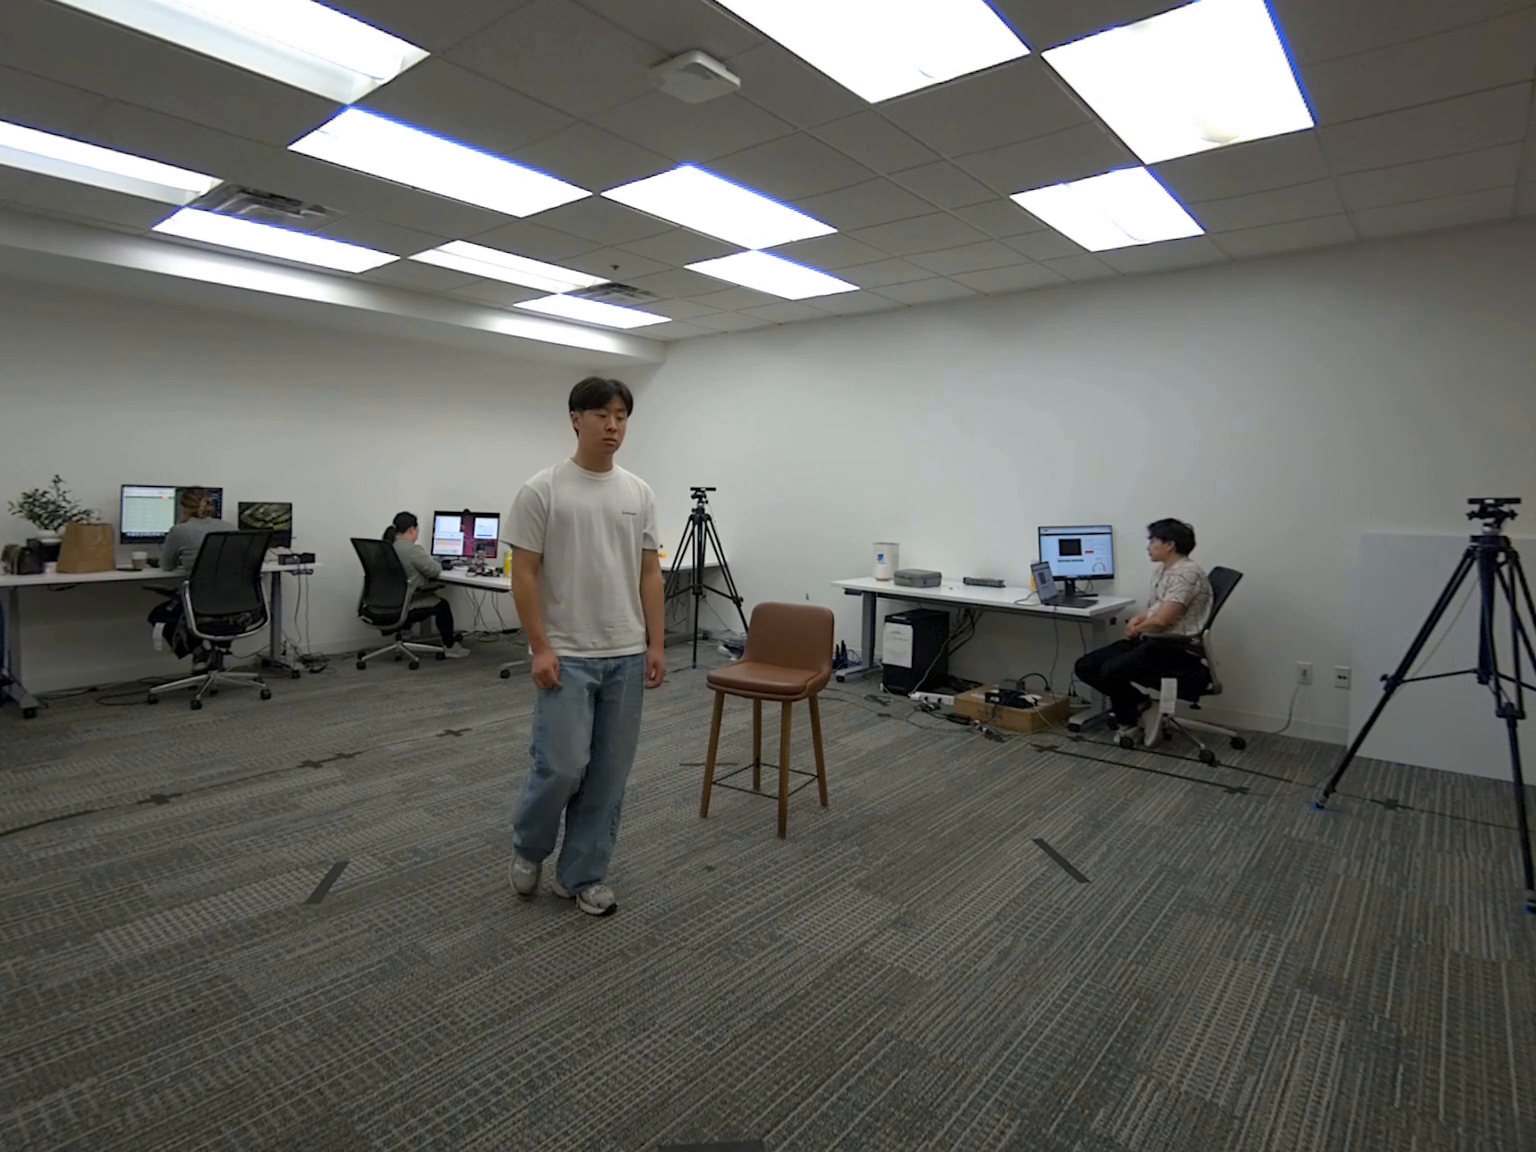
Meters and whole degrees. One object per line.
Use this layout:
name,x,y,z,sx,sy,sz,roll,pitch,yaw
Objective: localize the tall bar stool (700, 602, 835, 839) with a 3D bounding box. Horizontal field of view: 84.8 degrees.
tall bar stool,0.001,0.582,3.663,0.470,0.889,0.454,4,2,32
